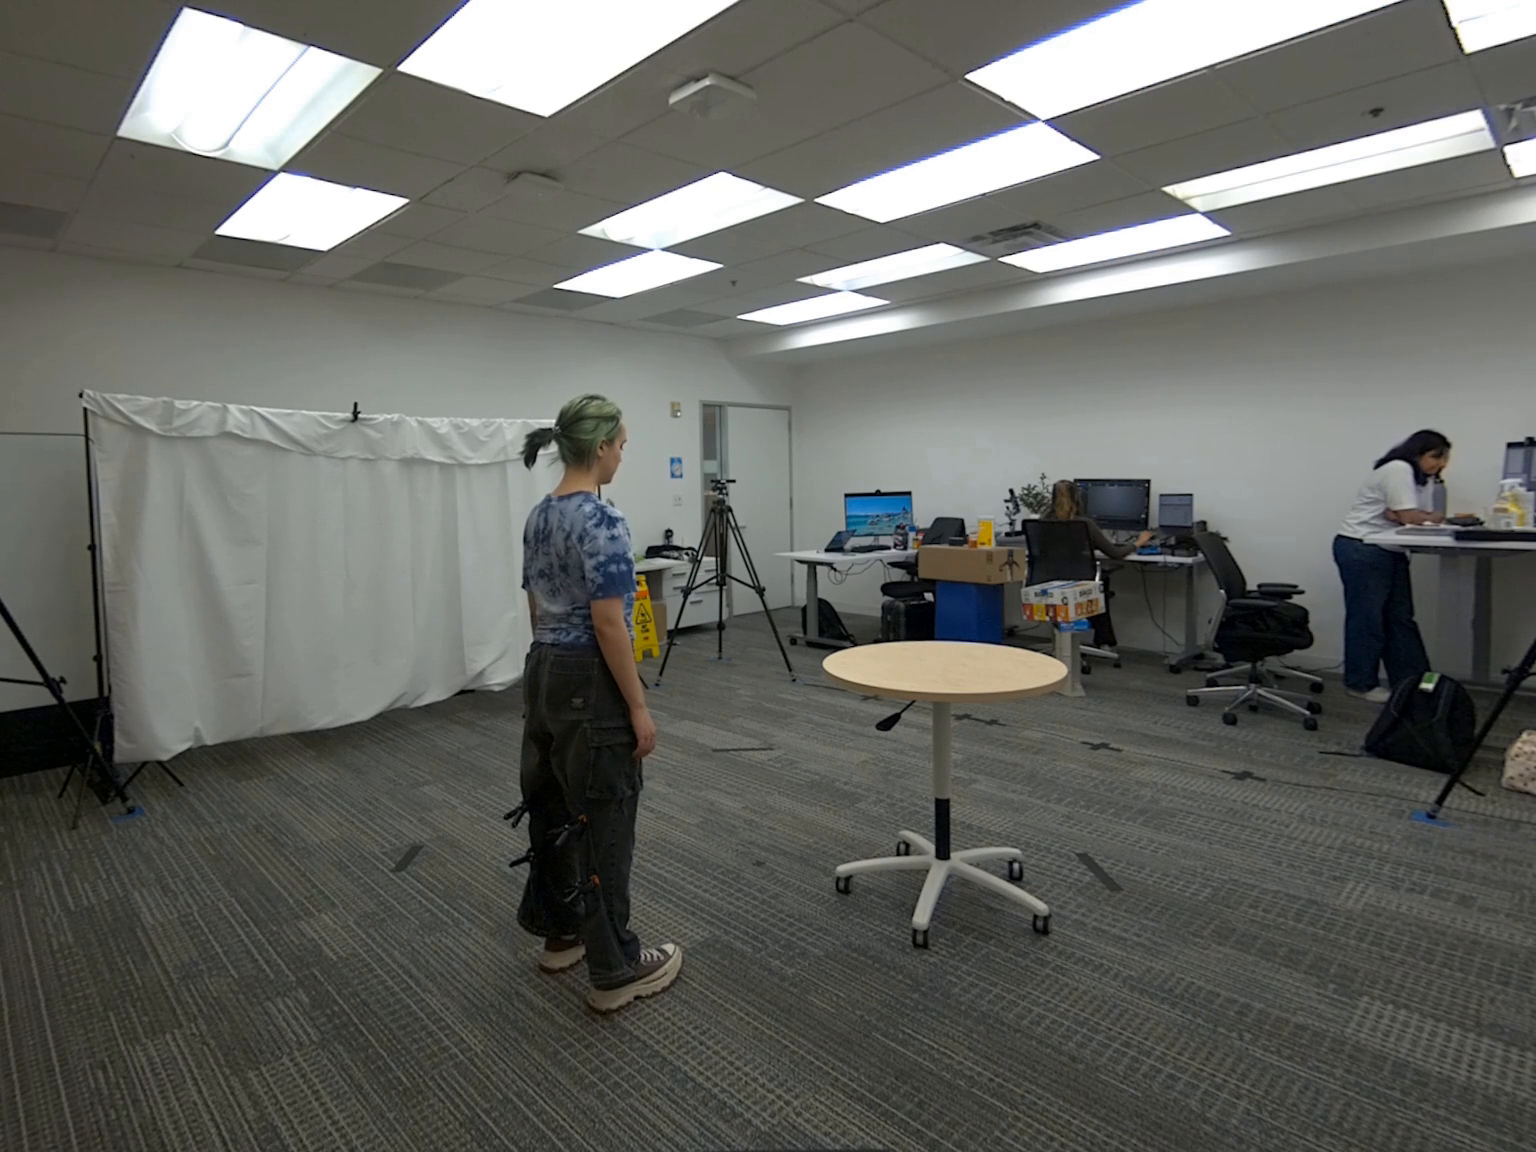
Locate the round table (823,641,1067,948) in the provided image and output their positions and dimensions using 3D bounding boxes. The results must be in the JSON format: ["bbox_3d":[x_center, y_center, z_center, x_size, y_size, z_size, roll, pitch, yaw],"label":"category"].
[{"bbox_3d":[0.572,0.682,2.802,0.763,0.791,0.768,-1,5,-2],"label":"round table"}]
